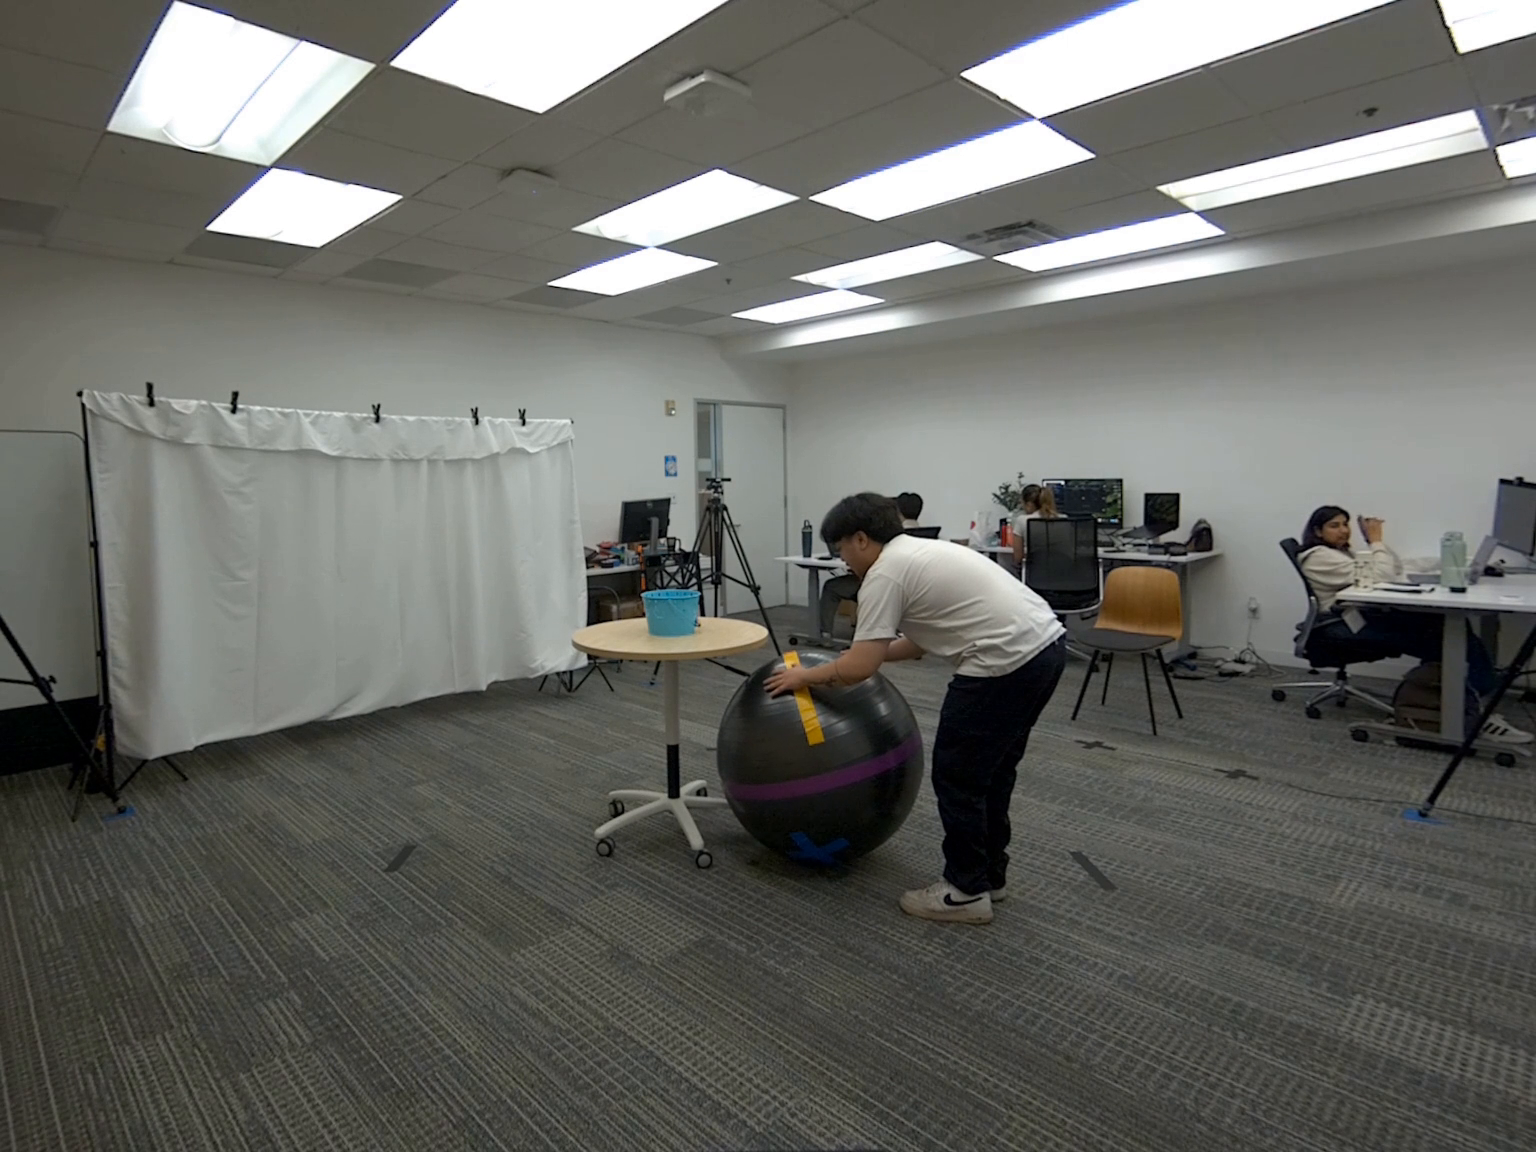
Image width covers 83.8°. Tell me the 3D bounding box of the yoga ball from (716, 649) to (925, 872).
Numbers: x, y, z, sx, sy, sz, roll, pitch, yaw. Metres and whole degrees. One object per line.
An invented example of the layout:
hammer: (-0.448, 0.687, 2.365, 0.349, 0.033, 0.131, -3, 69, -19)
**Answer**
yoga ball: (0.191, 0.667, 3.154, 0.757, 0.755, 0.762, -1, 5, -2)
